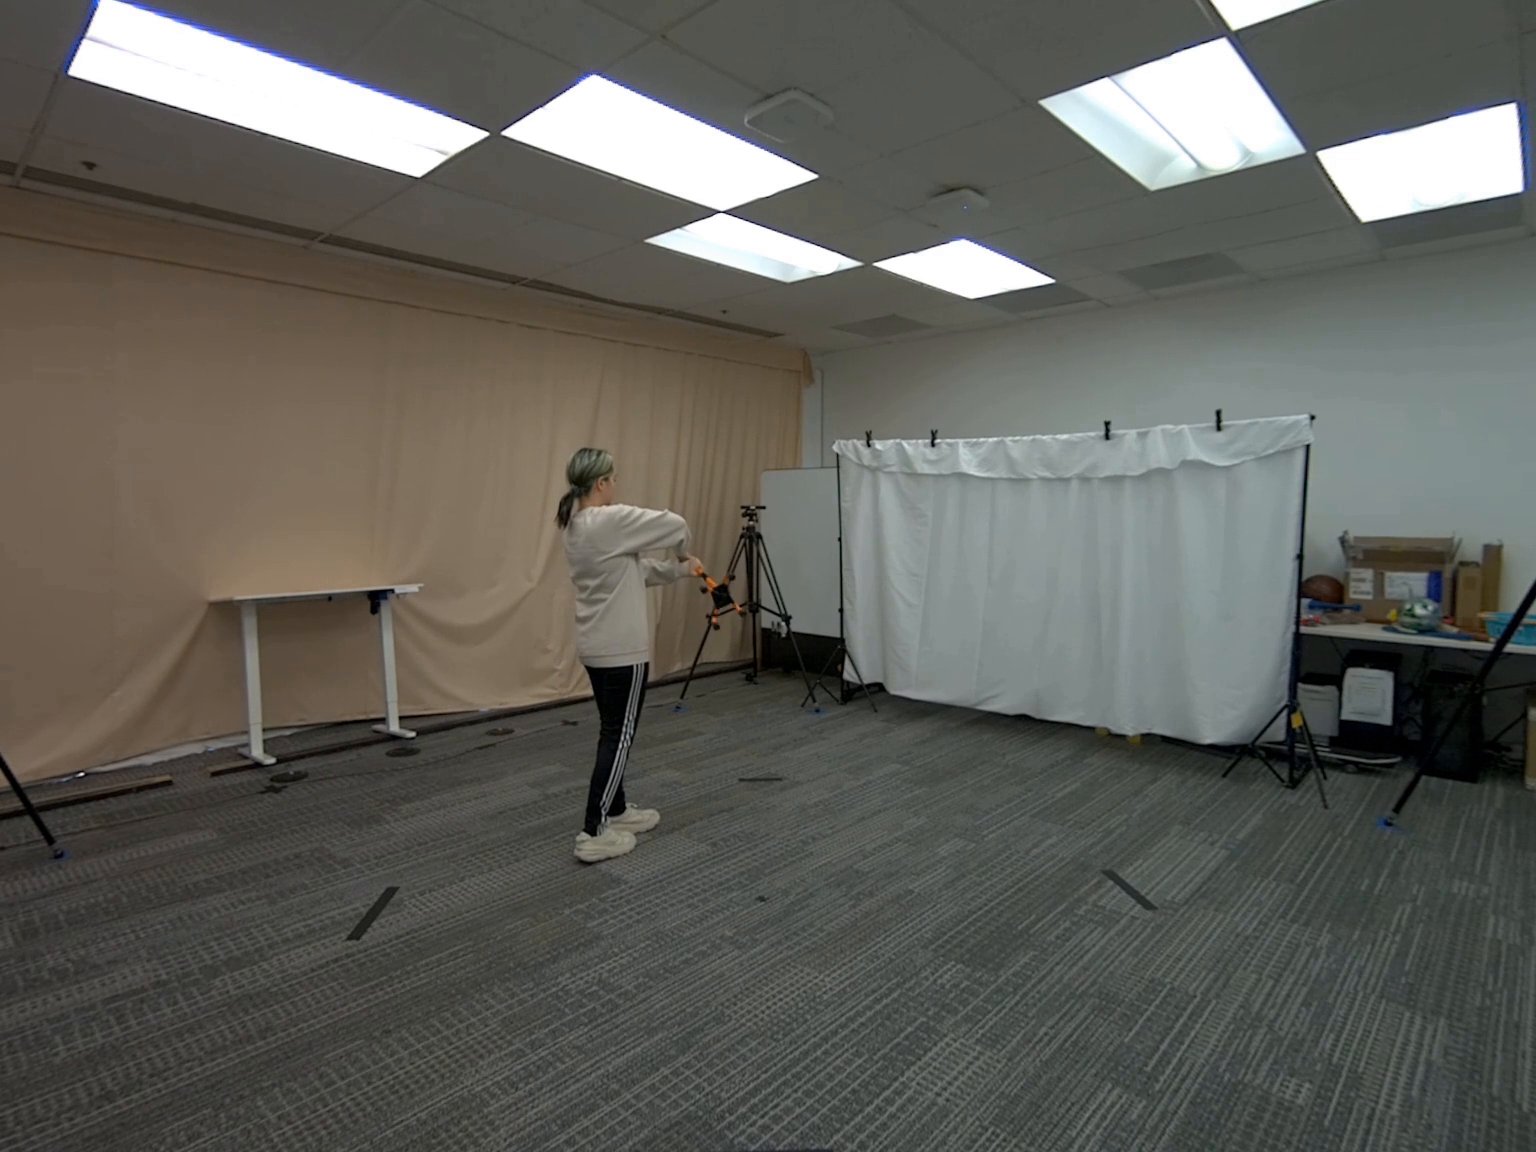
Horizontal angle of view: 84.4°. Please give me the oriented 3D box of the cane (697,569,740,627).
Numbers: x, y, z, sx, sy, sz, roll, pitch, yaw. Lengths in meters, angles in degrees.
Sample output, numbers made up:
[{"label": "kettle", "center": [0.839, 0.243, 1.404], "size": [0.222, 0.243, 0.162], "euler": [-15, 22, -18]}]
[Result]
[{"label": "cane", "center": [-0.364, -0.061, 3.727], "size": [0.150, 0.202, 0.938], "euler": [-22, 29, -16]}]
